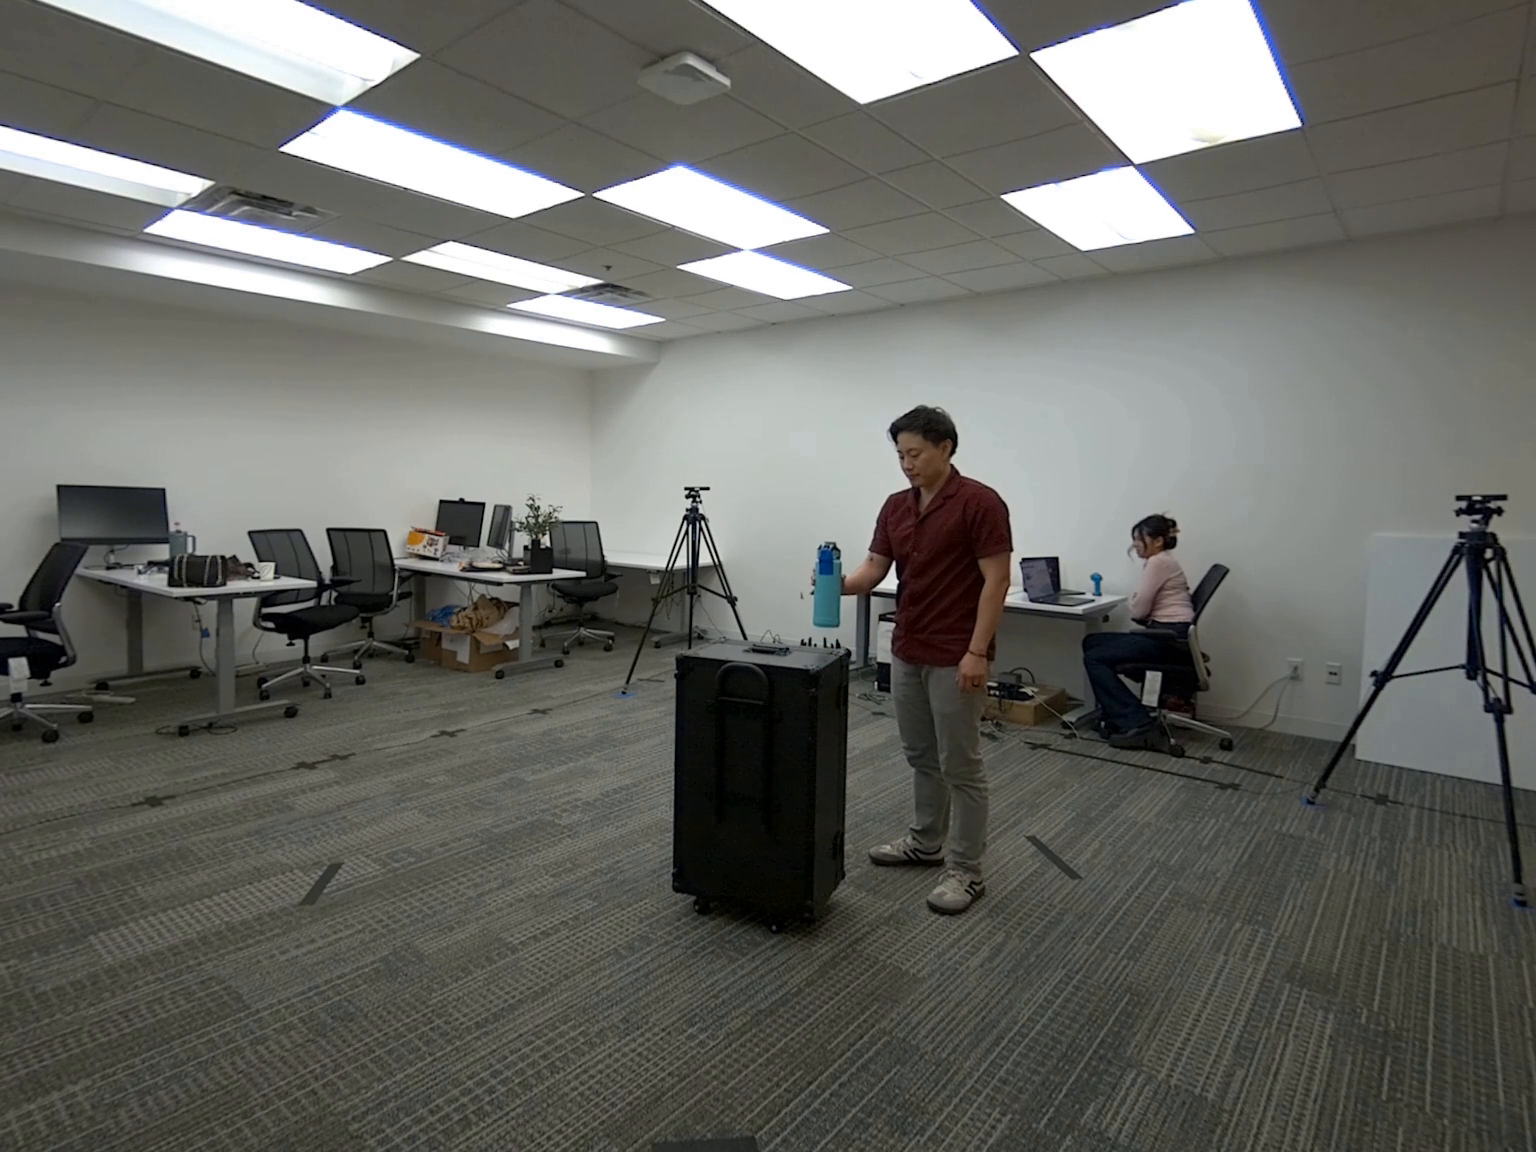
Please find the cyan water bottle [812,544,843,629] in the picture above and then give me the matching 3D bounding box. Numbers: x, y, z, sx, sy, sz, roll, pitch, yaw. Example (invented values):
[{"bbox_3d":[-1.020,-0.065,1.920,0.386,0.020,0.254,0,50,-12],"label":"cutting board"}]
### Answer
[{"bbox_3d":[0.196,0.025,2.852,0.092,0.282,0.093,0,3,-2],"label":"cyan water bottle"}]
